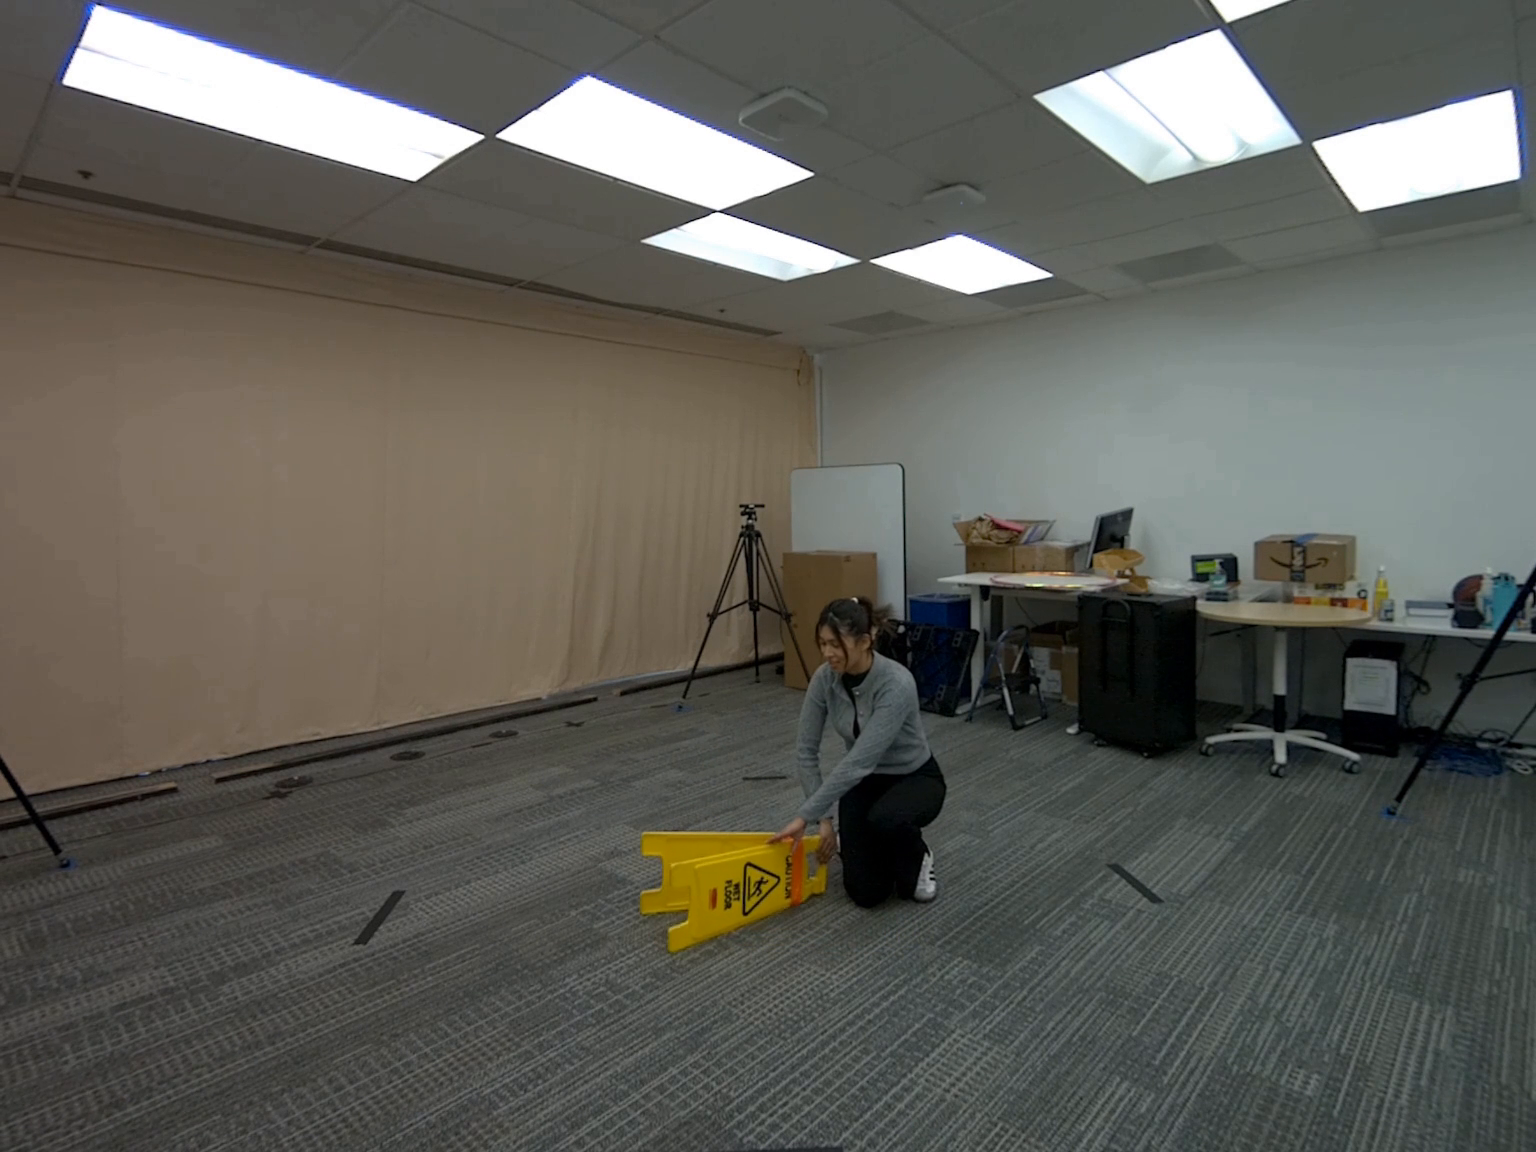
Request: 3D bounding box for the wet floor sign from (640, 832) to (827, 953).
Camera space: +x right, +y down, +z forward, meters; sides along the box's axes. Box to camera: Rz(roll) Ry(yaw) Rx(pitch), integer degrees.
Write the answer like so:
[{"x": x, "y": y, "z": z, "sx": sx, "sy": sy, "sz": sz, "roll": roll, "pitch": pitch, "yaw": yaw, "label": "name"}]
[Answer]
[{"x": -0.082, "y": 1.031, "z": 2.870, "sx": 0.631, "sy": 0.282, "sz": 0.297, "roll": 0, "pitch": 4, "yaw": -23, "label": "wet floor sign"}]
